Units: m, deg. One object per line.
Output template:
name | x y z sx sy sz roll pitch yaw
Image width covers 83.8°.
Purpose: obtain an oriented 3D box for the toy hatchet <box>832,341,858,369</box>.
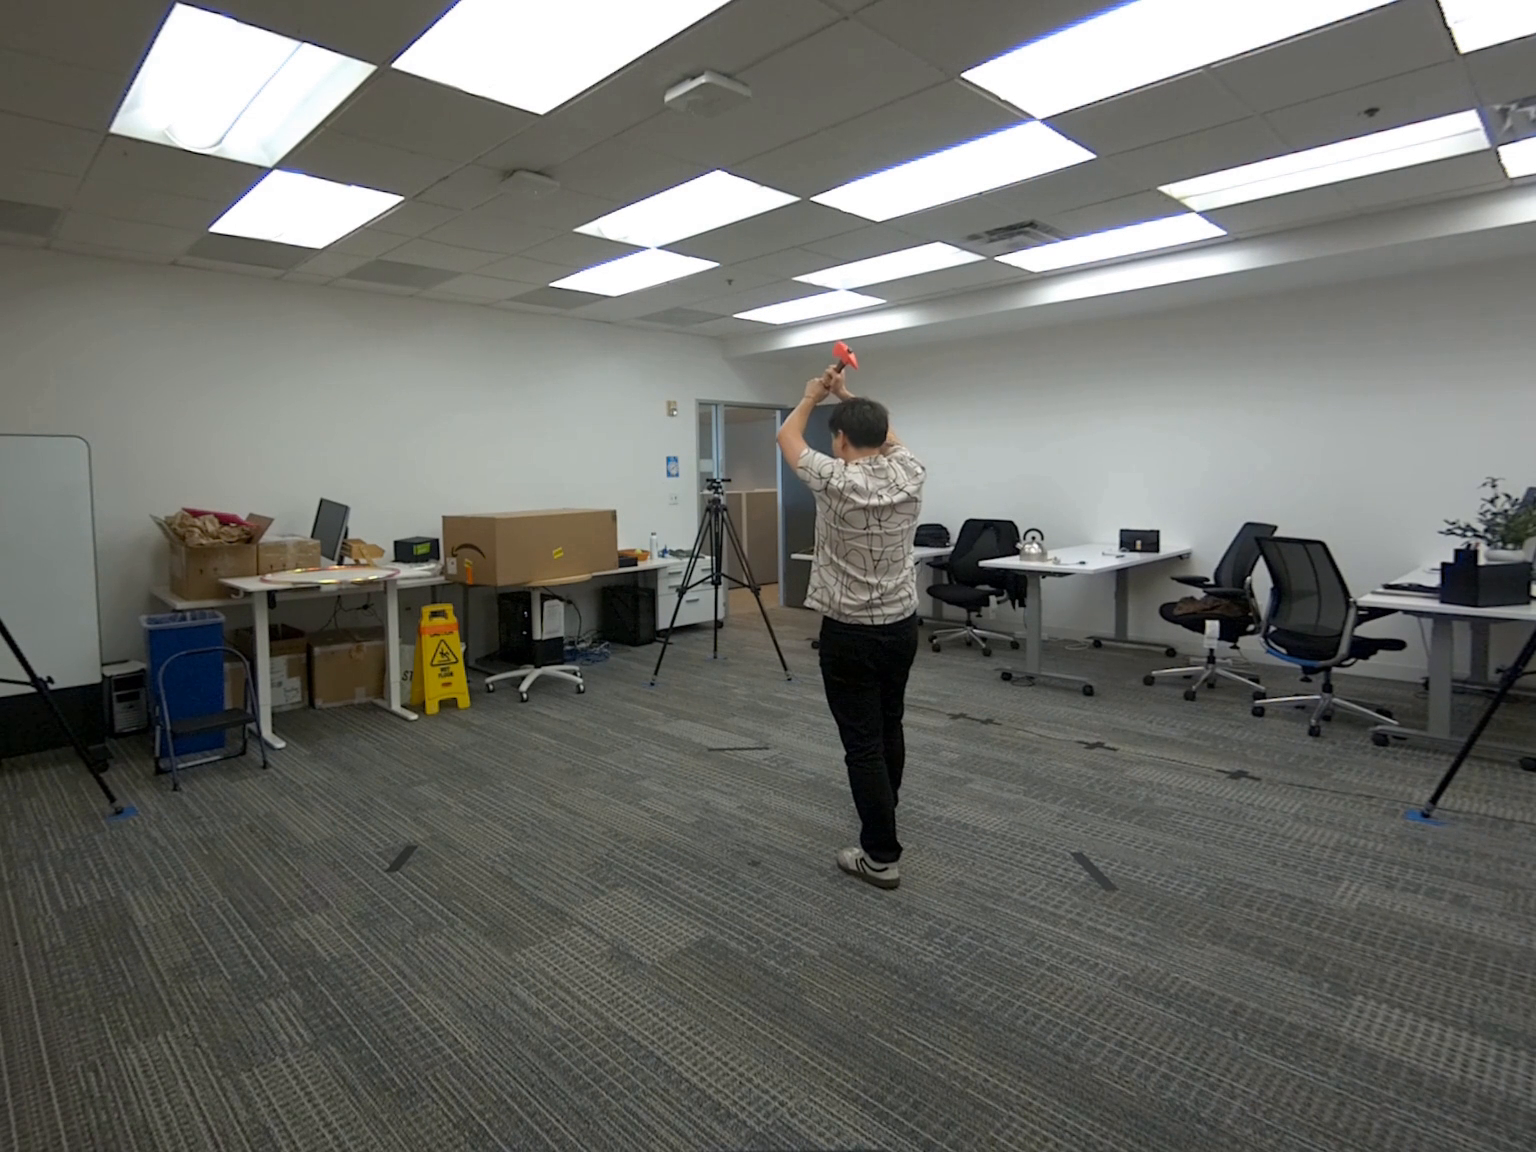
toy hatchet | 0.240 -0.784 3.192 0.029 0.131 0.273 -19 -2 -31
